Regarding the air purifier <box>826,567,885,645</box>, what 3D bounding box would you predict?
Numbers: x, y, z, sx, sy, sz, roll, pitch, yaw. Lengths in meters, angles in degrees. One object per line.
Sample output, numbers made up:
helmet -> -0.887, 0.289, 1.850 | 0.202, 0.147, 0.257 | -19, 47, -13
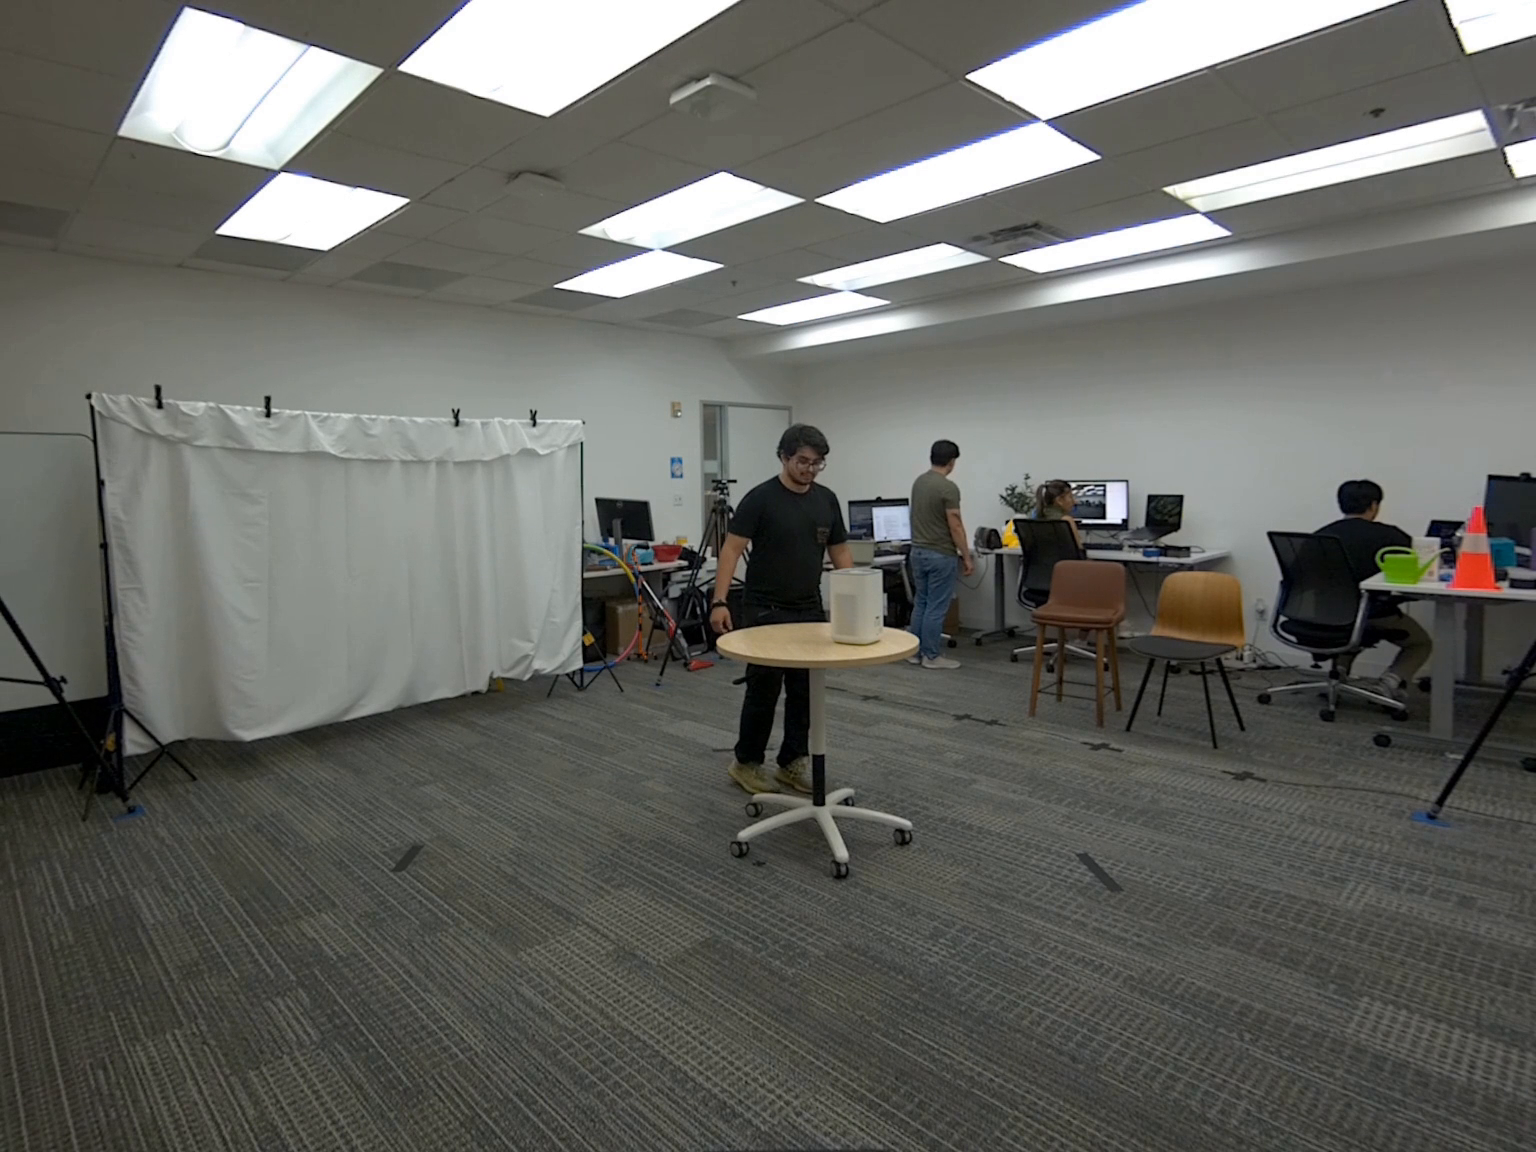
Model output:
air purifier -> 0.331, 0.113, 3.199 | 0.176, 0.264, 0.167 | 0, 5, 32
